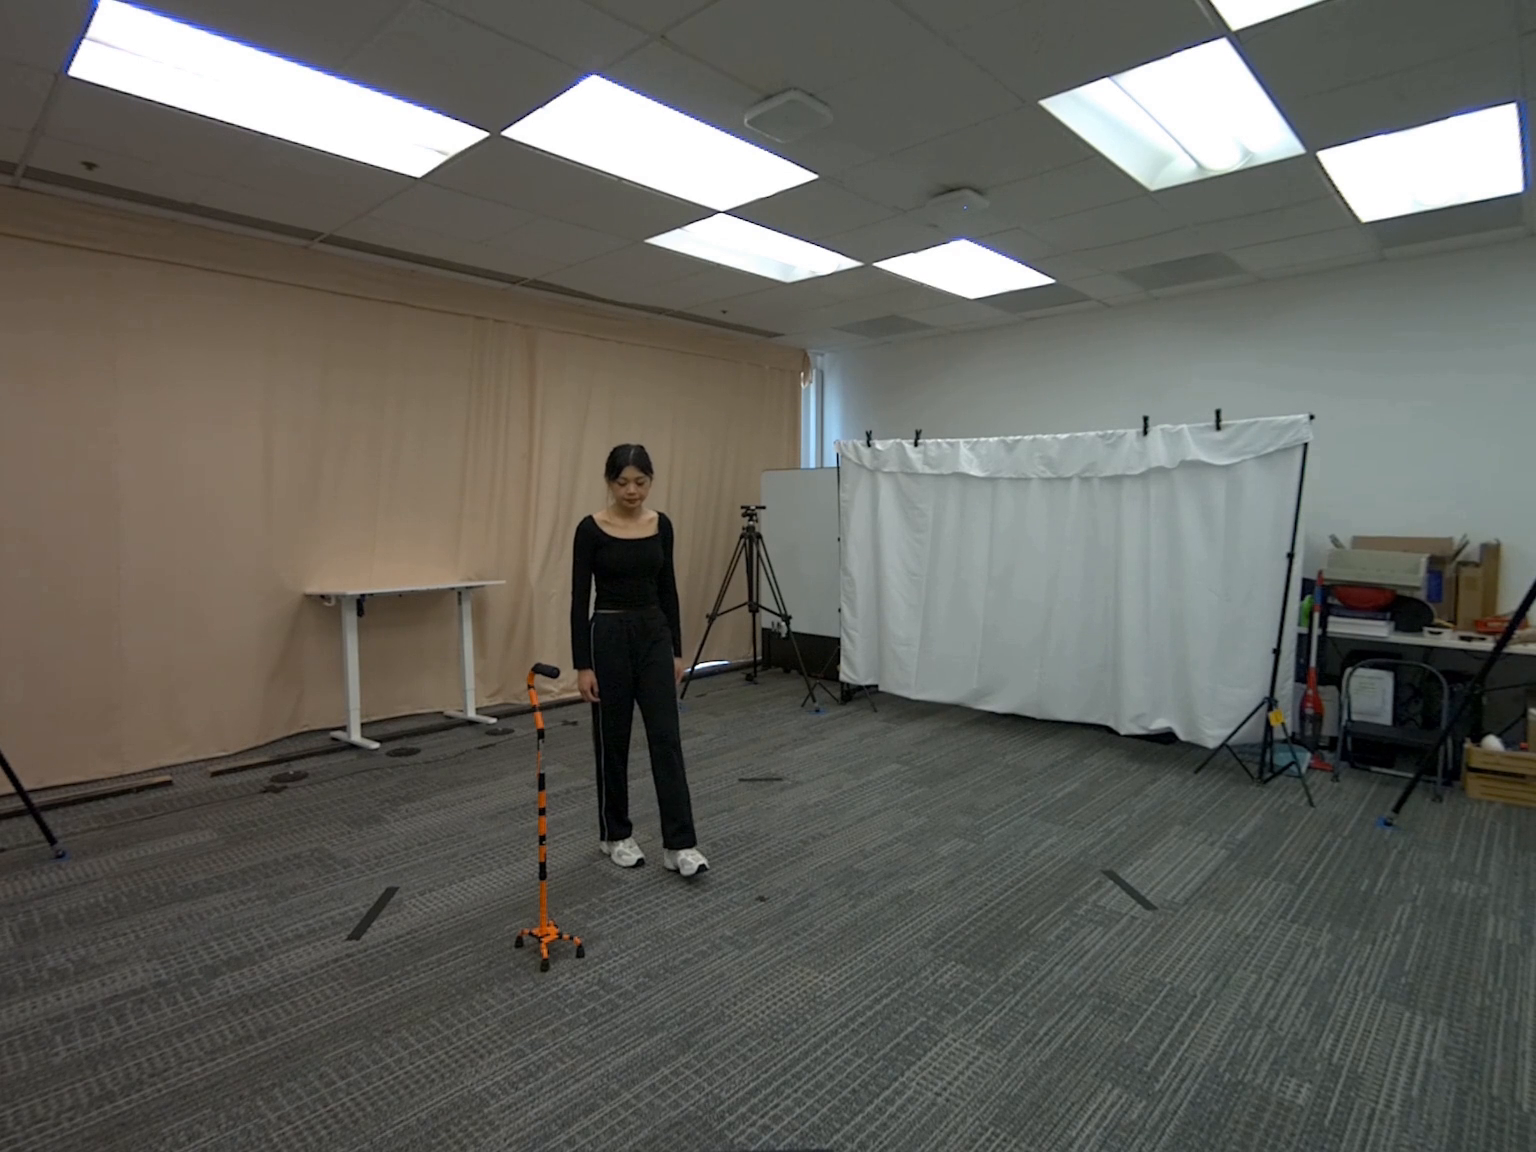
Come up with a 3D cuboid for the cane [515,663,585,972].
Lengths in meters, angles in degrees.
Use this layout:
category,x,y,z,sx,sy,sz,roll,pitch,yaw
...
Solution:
category,x,y,z,sx,sy,sz,roll,pitch,yaw
cane,-0.677,0.718,2.621,0.147,0.906,0.213,-3,3,-40
